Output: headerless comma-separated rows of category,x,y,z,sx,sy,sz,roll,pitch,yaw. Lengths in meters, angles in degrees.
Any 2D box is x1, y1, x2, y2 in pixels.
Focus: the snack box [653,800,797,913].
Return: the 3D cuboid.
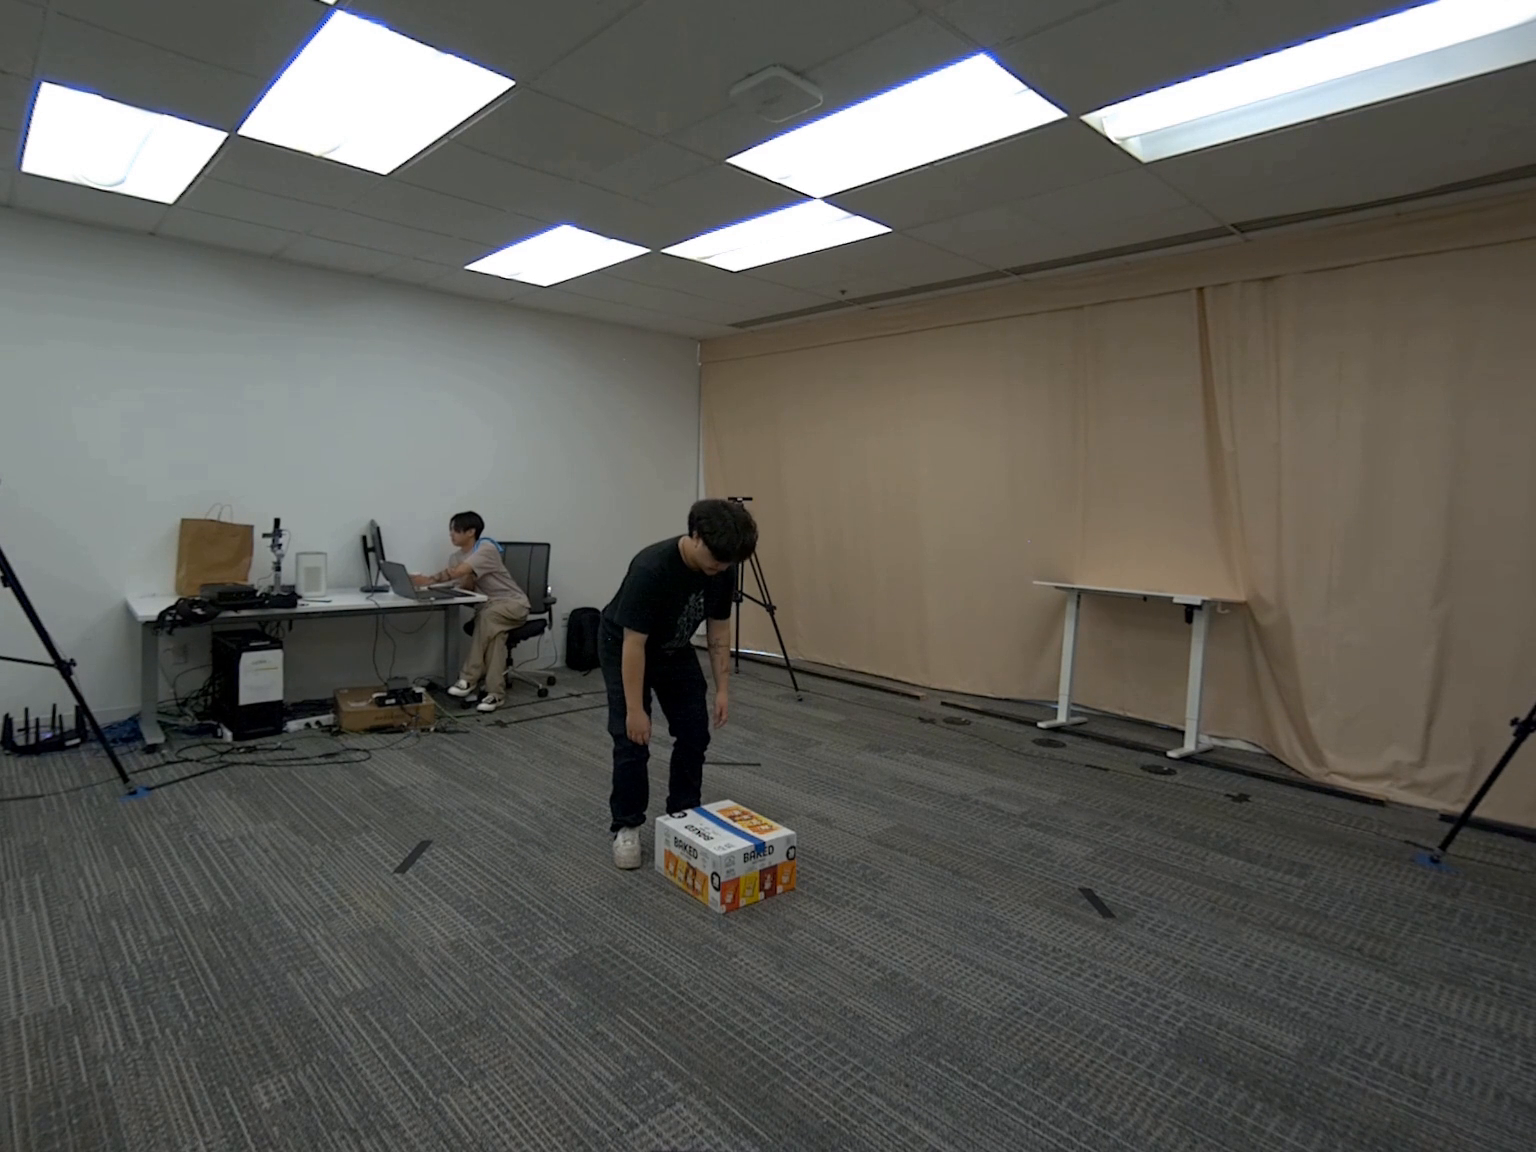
snack box,-0.166,1.010,3.066,0.333,0.205,0.415,-2,6,-39
